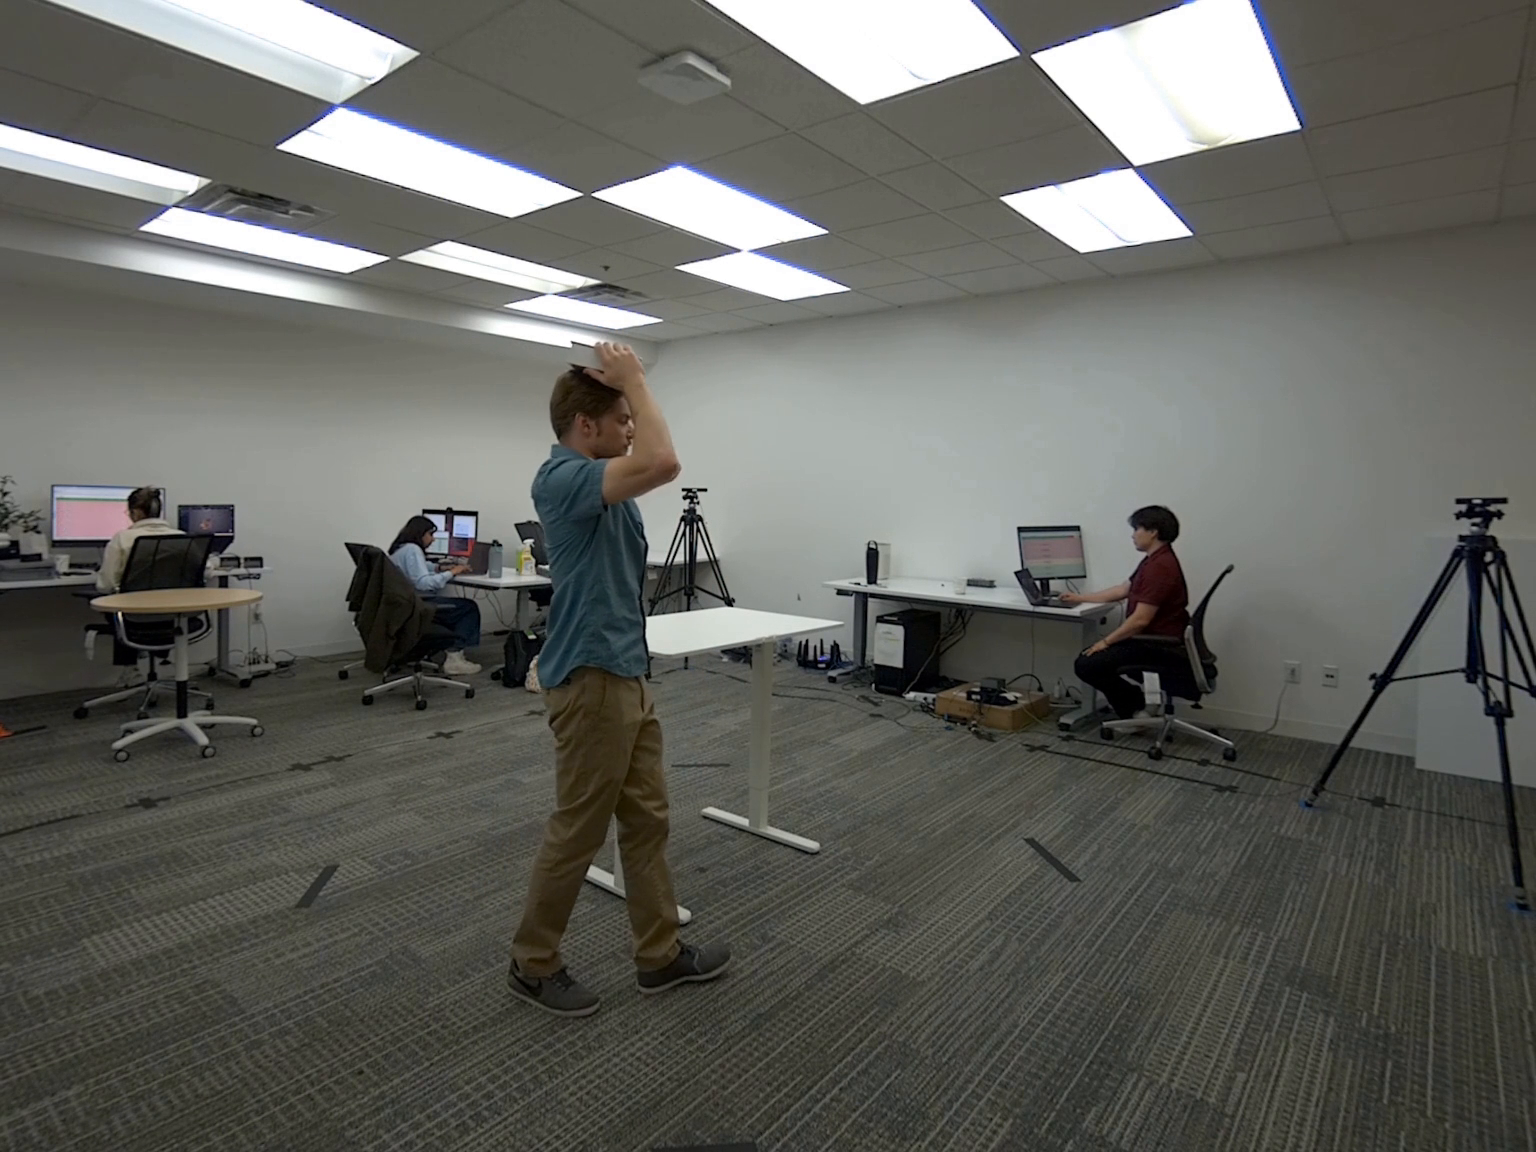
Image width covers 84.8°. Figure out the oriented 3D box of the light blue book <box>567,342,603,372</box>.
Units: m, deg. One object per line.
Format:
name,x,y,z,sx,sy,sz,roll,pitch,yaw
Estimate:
light blue book,-0.443,-0.560,2.265,0.190,0.059,0.264,14,5,-7
